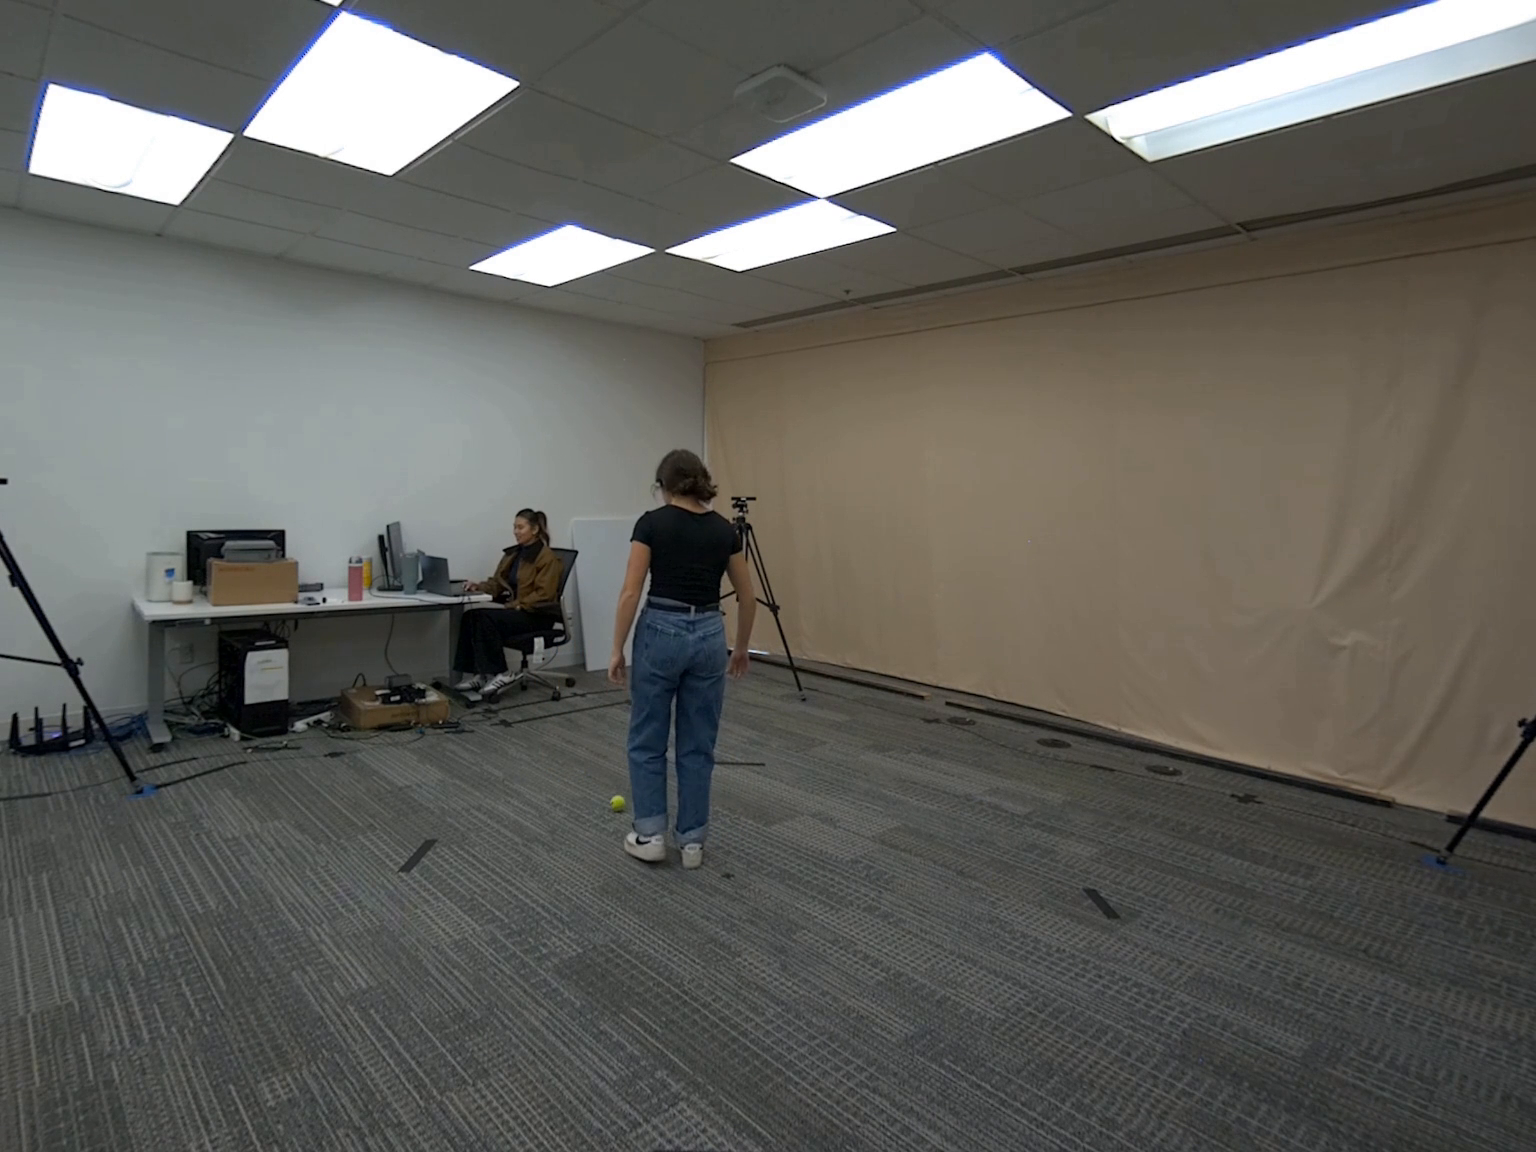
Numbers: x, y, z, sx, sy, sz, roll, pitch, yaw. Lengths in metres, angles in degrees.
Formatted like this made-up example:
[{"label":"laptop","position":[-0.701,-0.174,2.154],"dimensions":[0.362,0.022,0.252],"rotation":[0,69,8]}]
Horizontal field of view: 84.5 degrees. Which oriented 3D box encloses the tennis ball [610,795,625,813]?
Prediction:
[{"label":"tennis ball","position":[-0.668,1.001,3.720],"dimensions":[0.066,0.066,0.067],"rotation":[1,4,-1]}]
